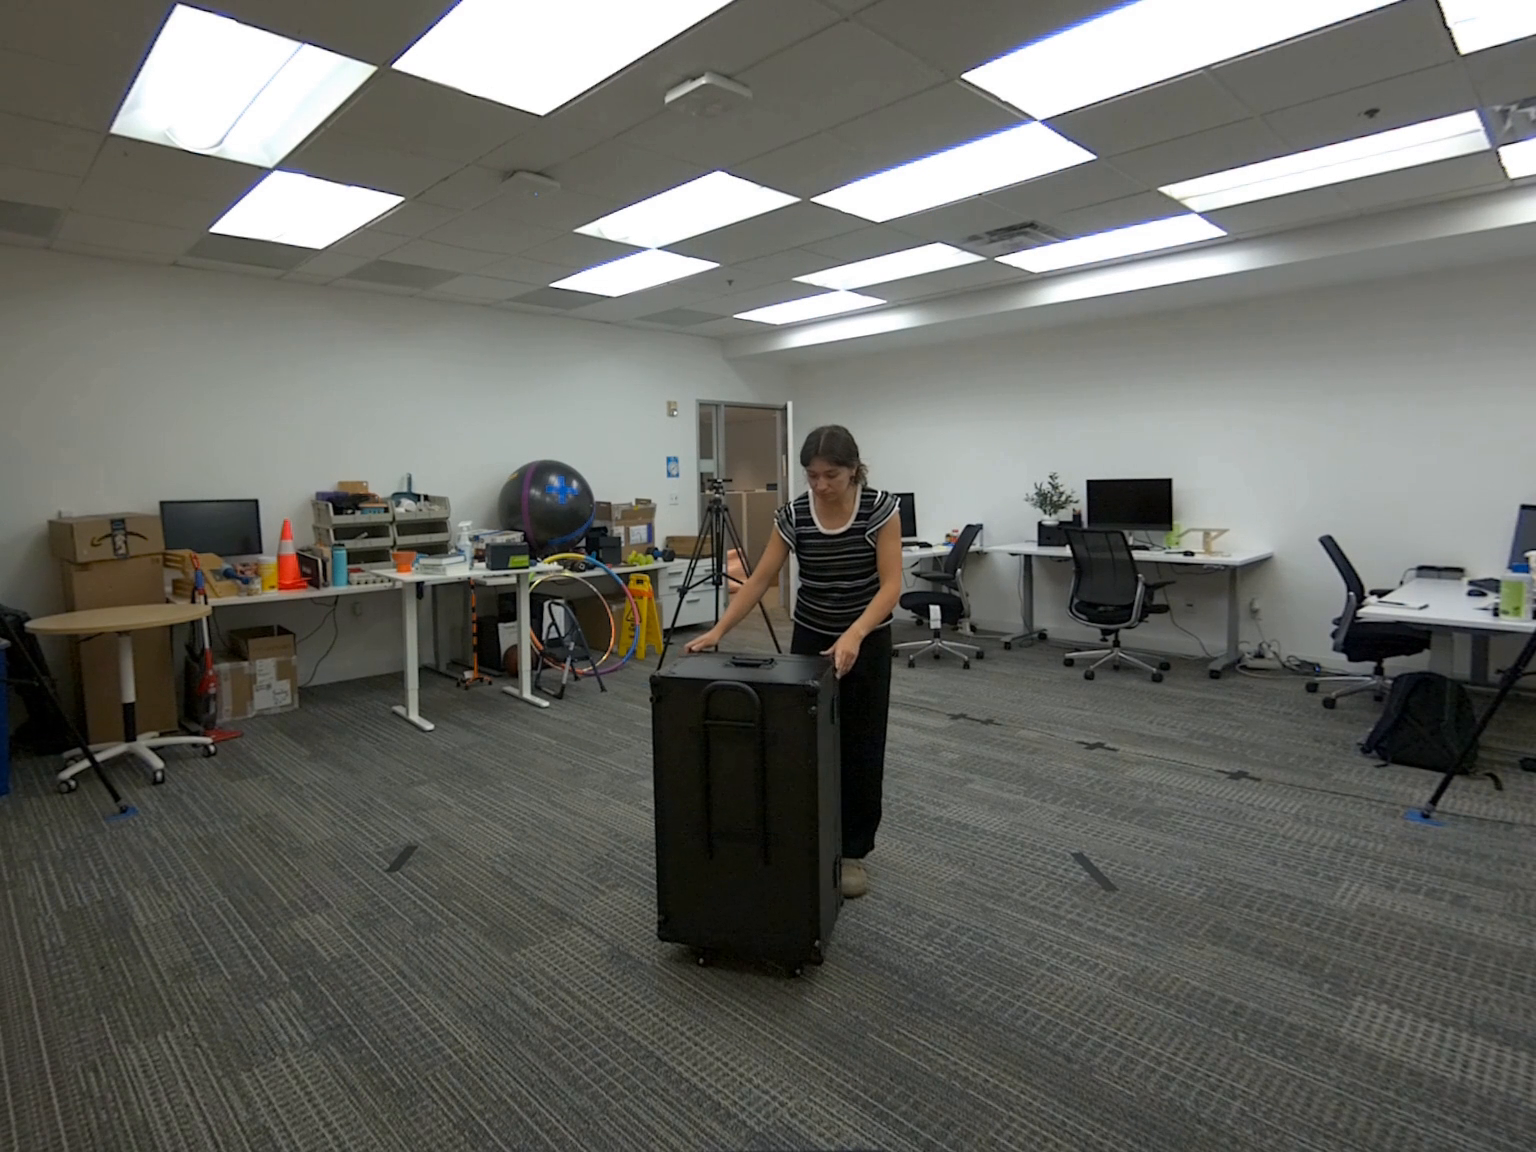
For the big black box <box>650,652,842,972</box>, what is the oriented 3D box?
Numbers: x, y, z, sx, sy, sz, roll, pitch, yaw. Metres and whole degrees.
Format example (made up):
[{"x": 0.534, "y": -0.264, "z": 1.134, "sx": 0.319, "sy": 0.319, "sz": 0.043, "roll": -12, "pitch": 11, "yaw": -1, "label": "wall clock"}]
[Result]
[{"x": -0.051, "y": 0.685, "z": 2.528, "sx": 0.530, "sy": 0.858, "sz": 0.391, "roll": 0, "pitch": 5, "yaw": 17, "label": "big black box"}]
